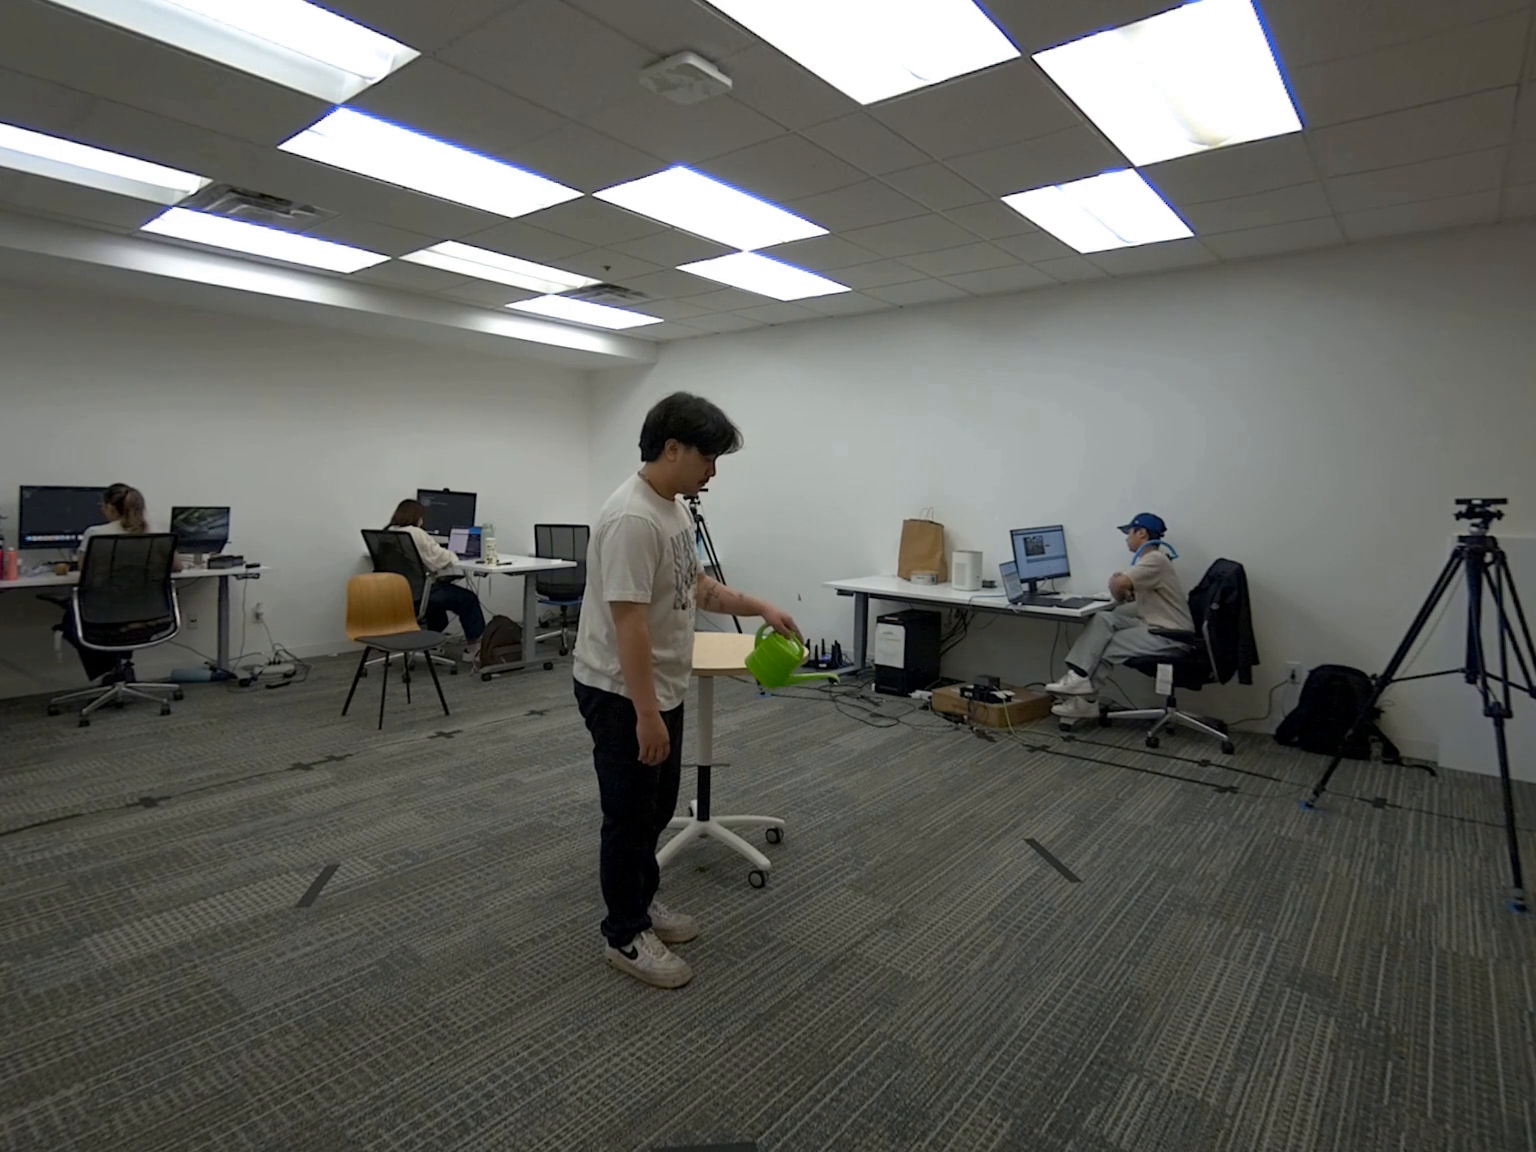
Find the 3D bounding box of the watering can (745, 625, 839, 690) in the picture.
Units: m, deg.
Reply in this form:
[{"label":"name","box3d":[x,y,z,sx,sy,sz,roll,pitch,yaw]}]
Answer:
[{"label":"watering can","box3d":[0.043,0.275,2.571,0.285,0.176,0.095,47,20,18]}]
